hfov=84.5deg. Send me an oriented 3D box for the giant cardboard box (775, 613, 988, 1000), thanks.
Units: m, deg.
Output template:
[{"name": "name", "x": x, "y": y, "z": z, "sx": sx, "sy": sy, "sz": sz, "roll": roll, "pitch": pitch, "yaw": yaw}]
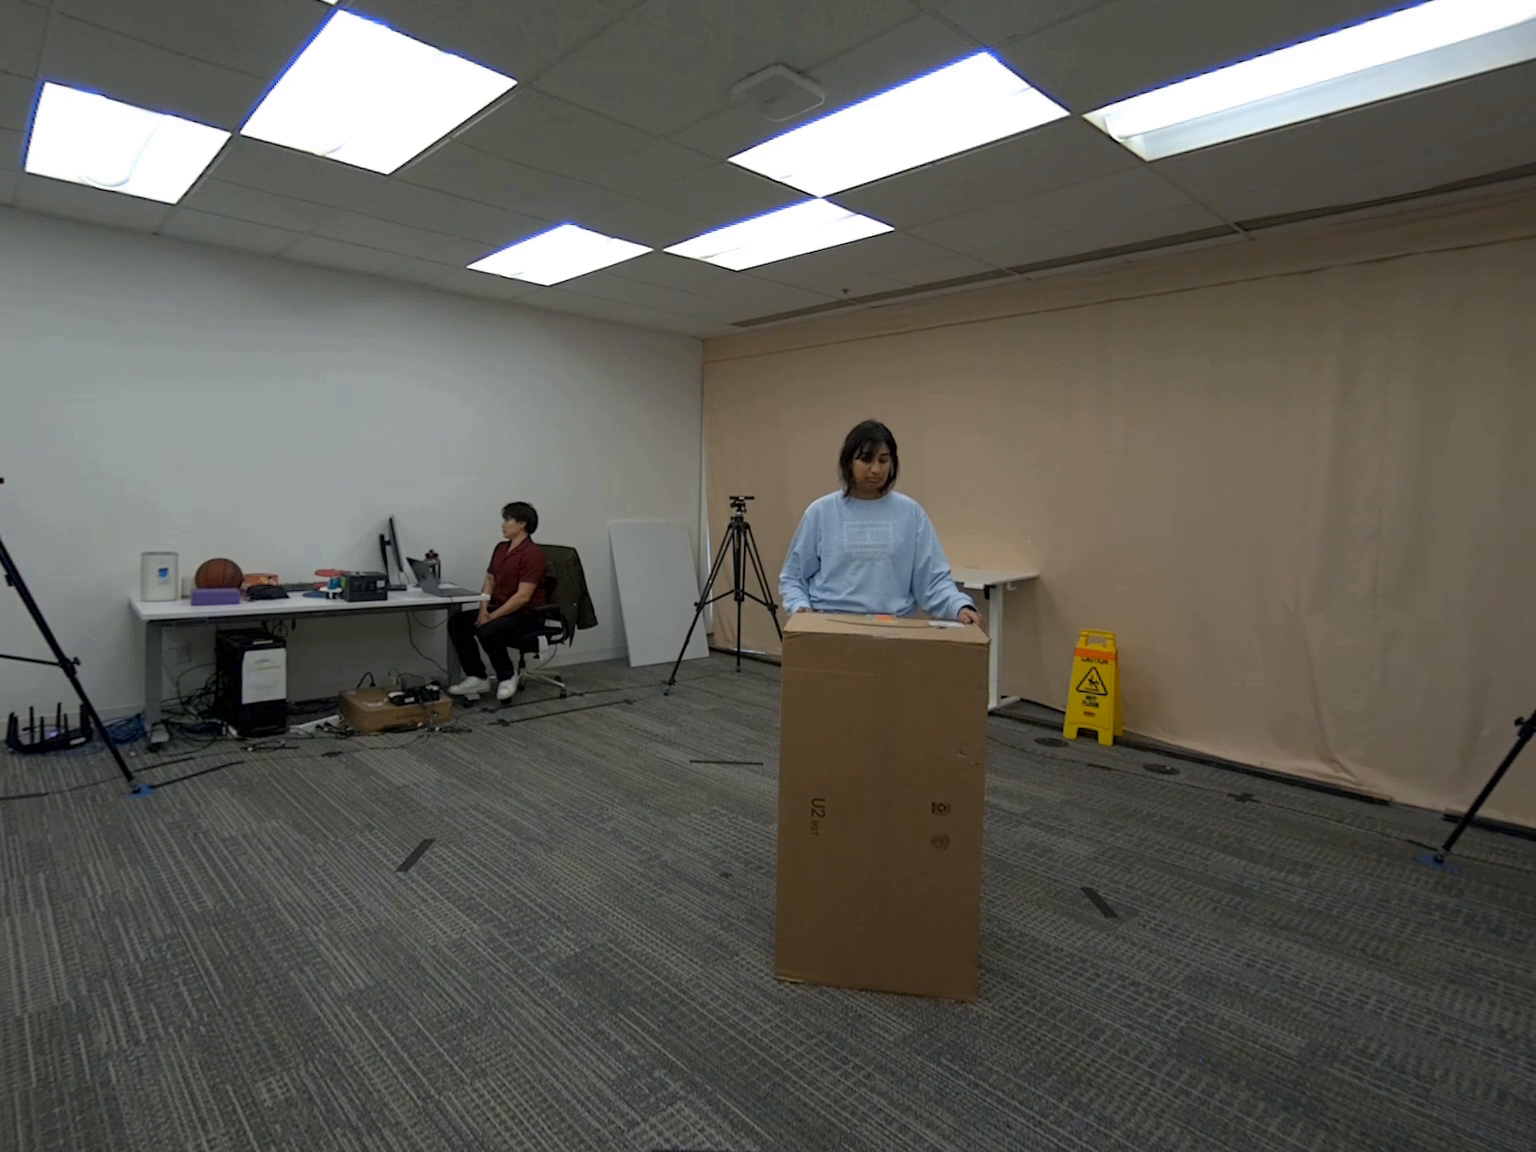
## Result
[{"name": "giant cardboard box", "x": 0.334, "y": 0.653, "z": 2.567, "sx": 0.589, "sy": 1.025, "sz": 0.444, "roll": 2, "pitch": 3, "yaw": 10}]
